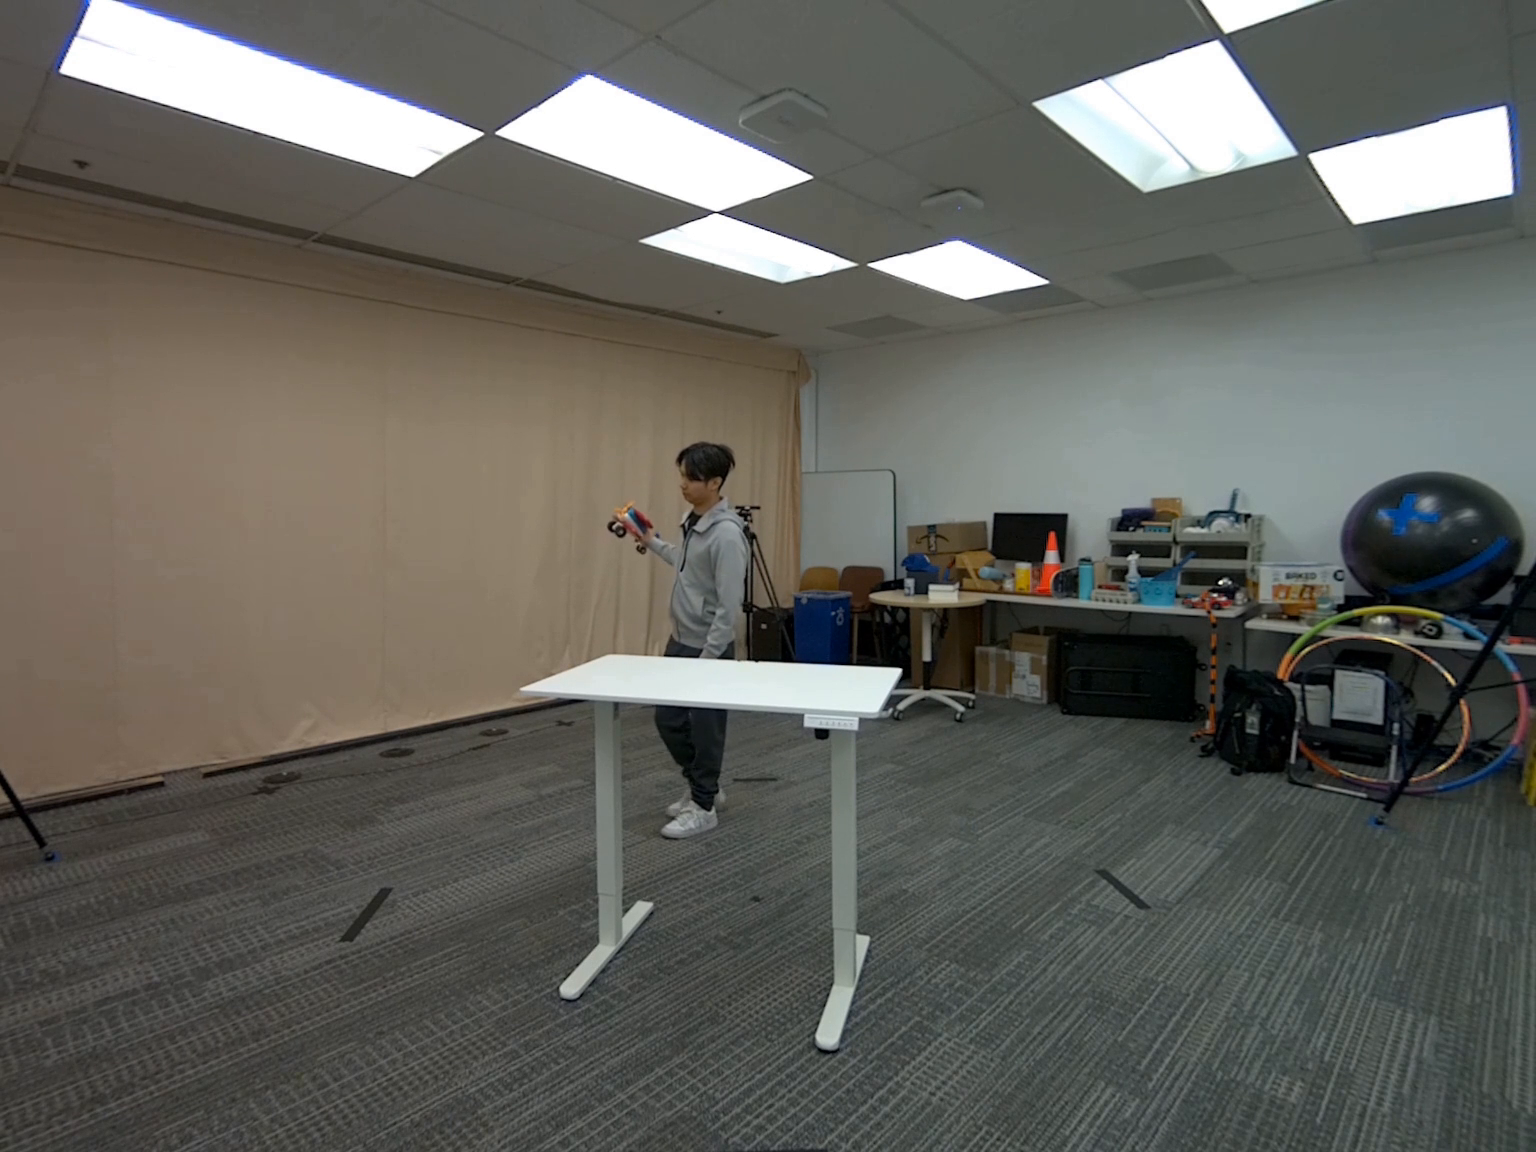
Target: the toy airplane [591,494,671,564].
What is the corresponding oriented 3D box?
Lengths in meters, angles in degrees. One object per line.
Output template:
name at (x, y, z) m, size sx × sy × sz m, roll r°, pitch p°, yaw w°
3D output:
toy airplane at (-0.653, -0.223, 4.035) m, size 0.258 × 0.156 × 0.252 m, roll 34°, pitch -3°, yaw 24°
